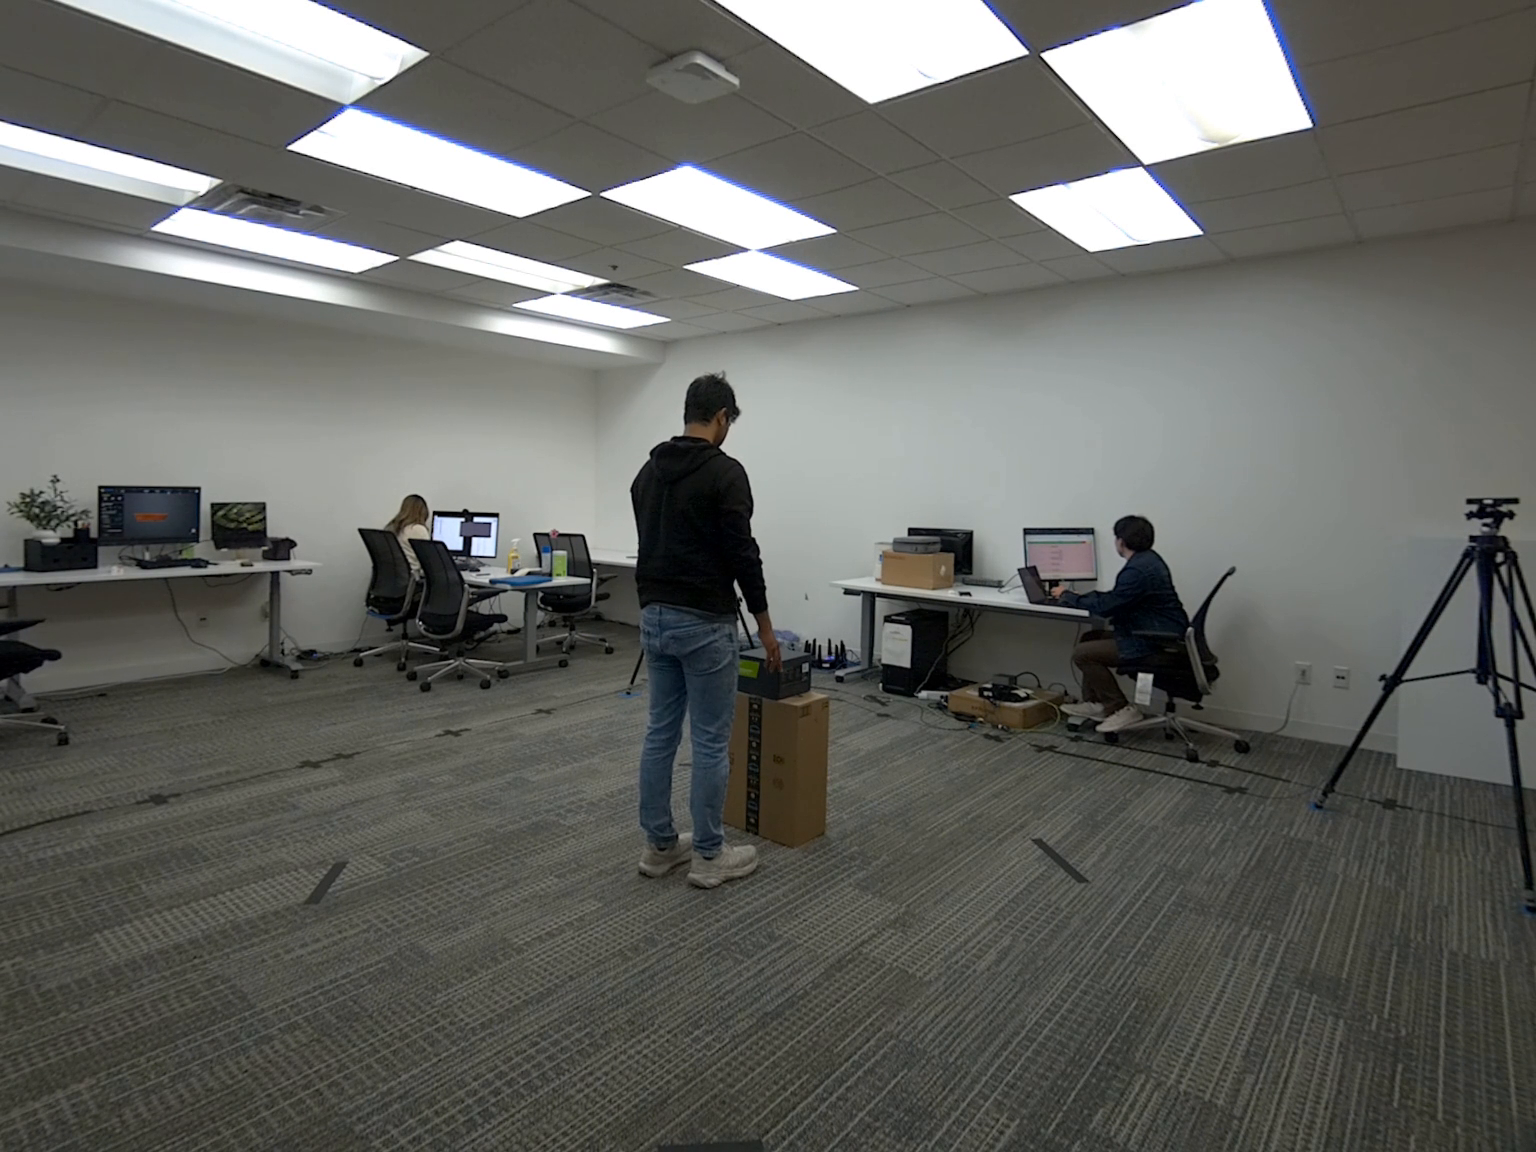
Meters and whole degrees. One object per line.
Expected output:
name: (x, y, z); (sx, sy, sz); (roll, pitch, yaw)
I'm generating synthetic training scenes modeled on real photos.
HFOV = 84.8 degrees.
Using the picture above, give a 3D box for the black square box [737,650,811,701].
black square box: (0.012, 0.387, 3.478); (0.236, 0.155, 0.211); (5, 7, 40)
